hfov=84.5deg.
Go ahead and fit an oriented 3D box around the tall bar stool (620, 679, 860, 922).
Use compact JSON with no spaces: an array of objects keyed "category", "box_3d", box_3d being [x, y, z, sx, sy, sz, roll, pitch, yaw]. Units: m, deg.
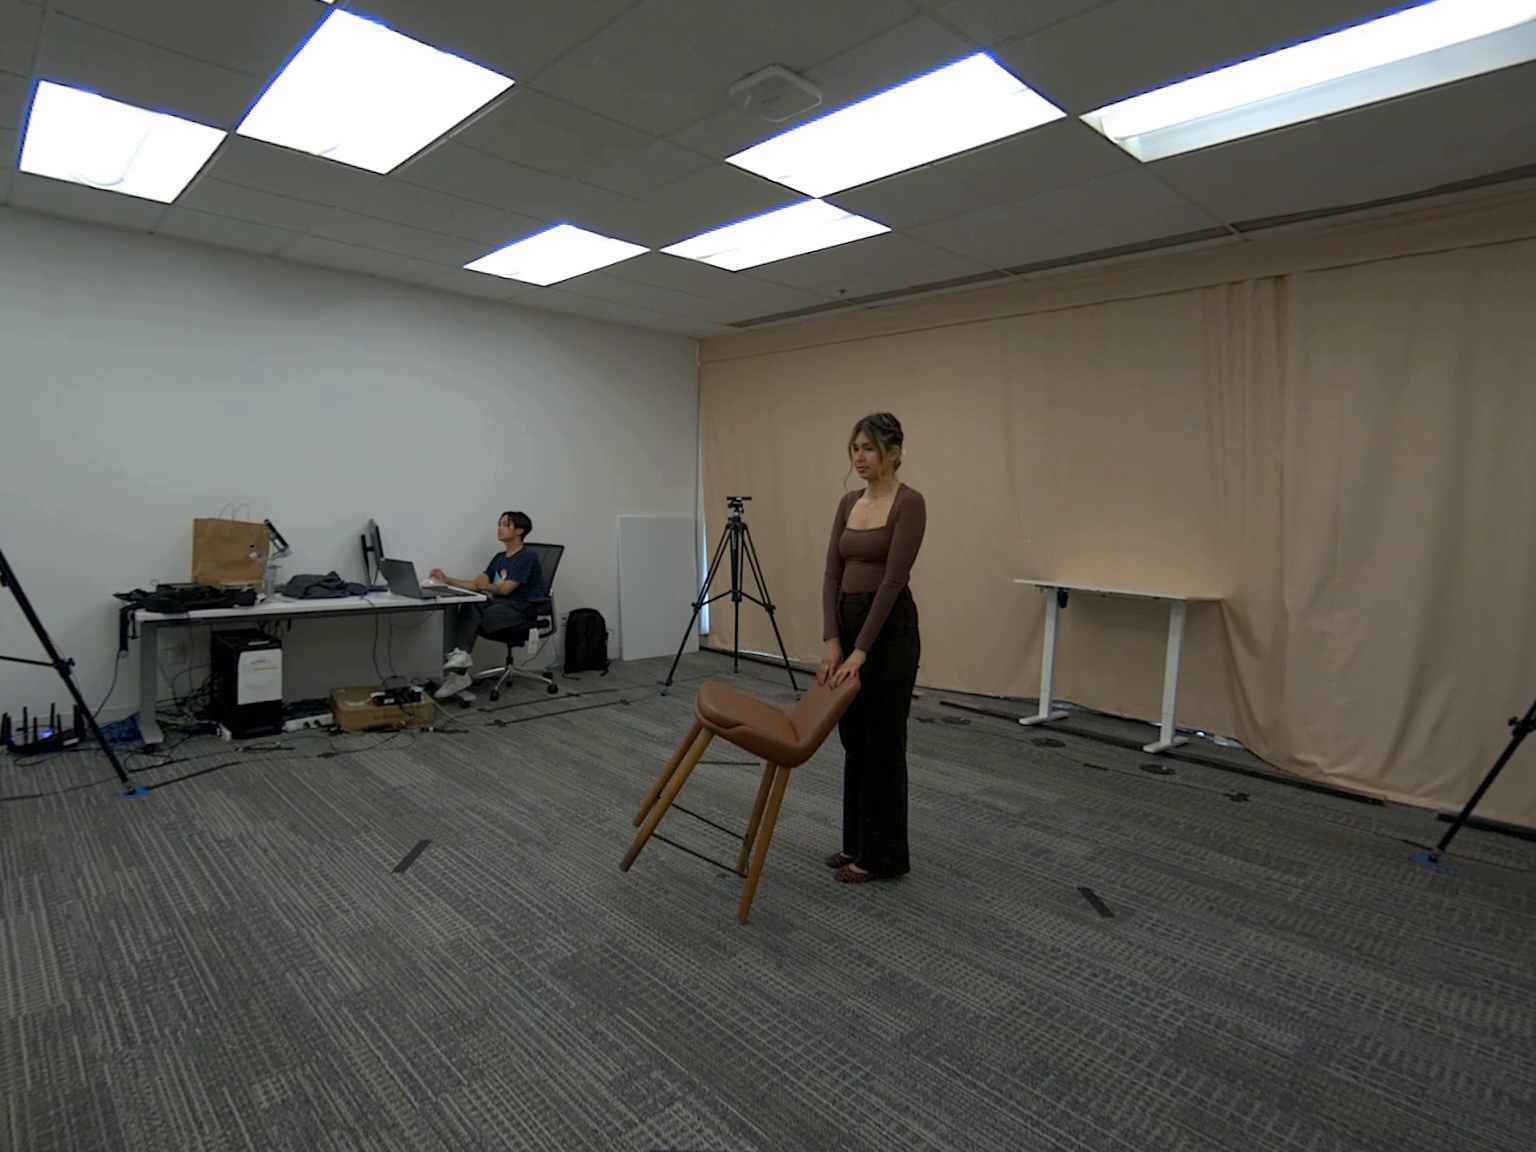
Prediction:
[{"category":"tall bar stool","box_3d":[-0.098,0.642,2.903,0.467,0.889,0.458,27,3,-3]}]
